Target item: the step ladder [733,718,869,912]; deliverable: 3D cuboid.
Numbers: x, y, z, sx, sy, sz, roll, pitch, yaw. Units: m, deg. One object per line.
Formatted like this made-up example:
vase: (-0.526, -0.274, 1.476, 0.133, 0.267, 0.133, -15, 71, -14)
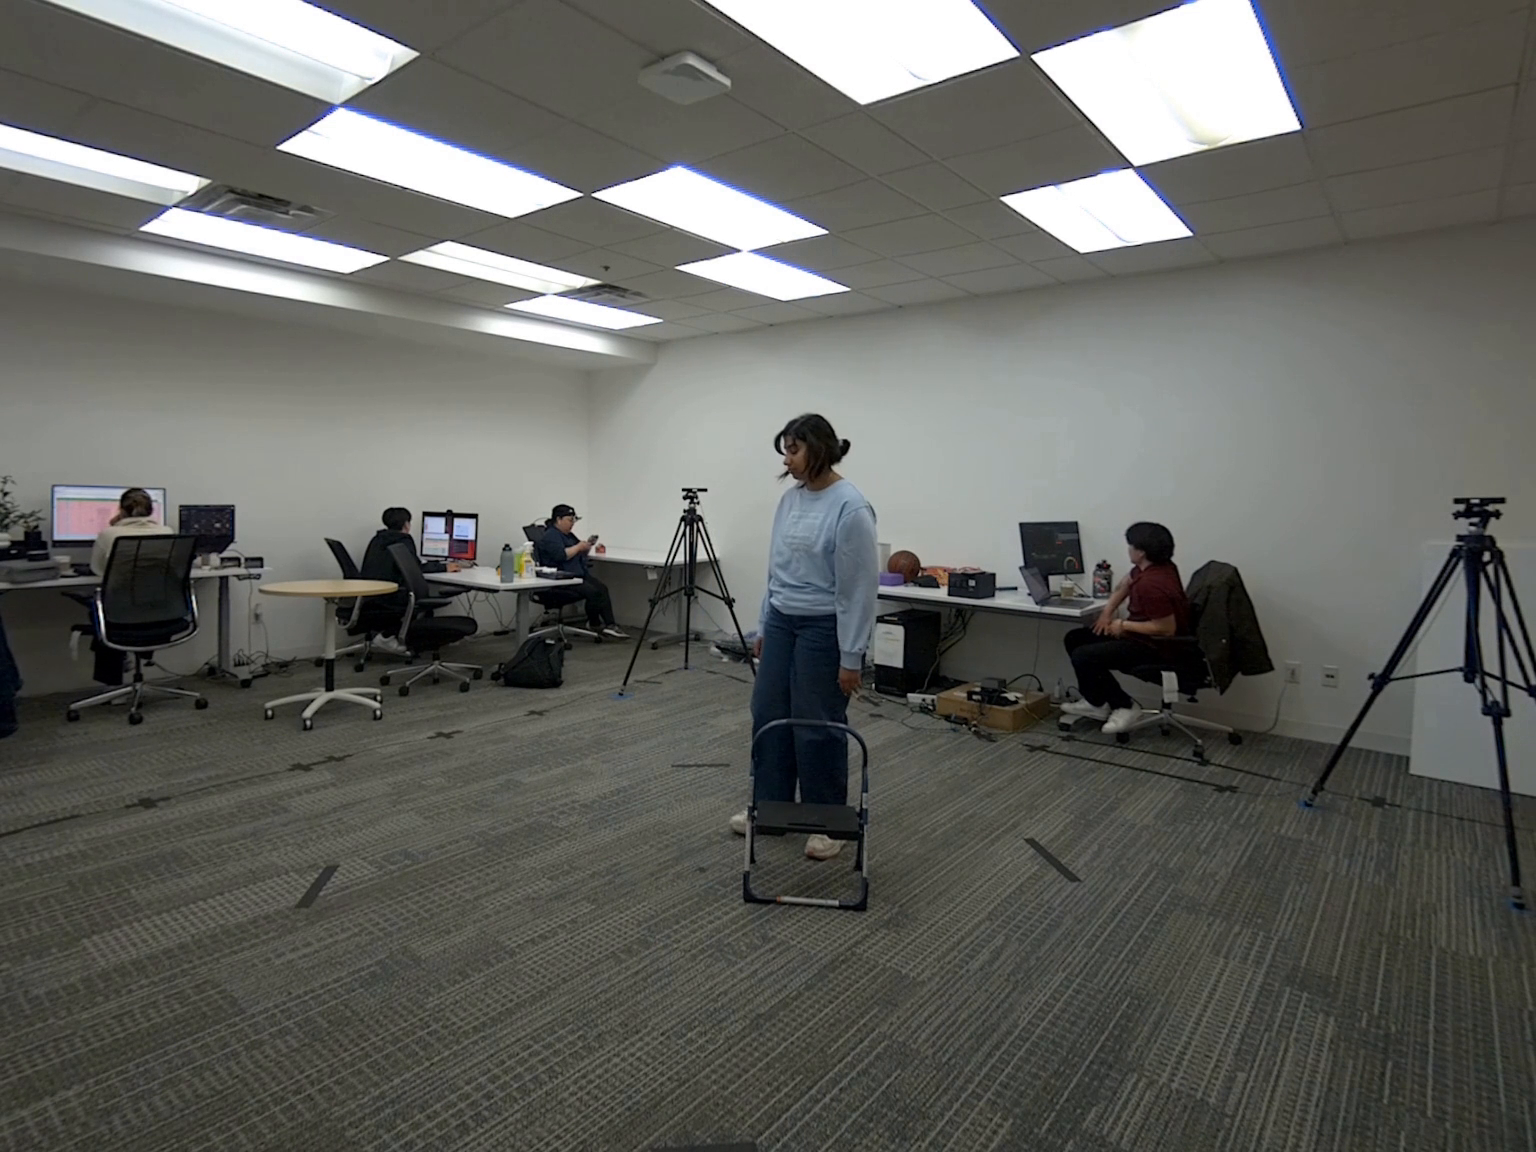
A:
step ladder: (0.133, 0.786, 2.994, 0.433, 0.605, 0.348, 1, 2, 4)
